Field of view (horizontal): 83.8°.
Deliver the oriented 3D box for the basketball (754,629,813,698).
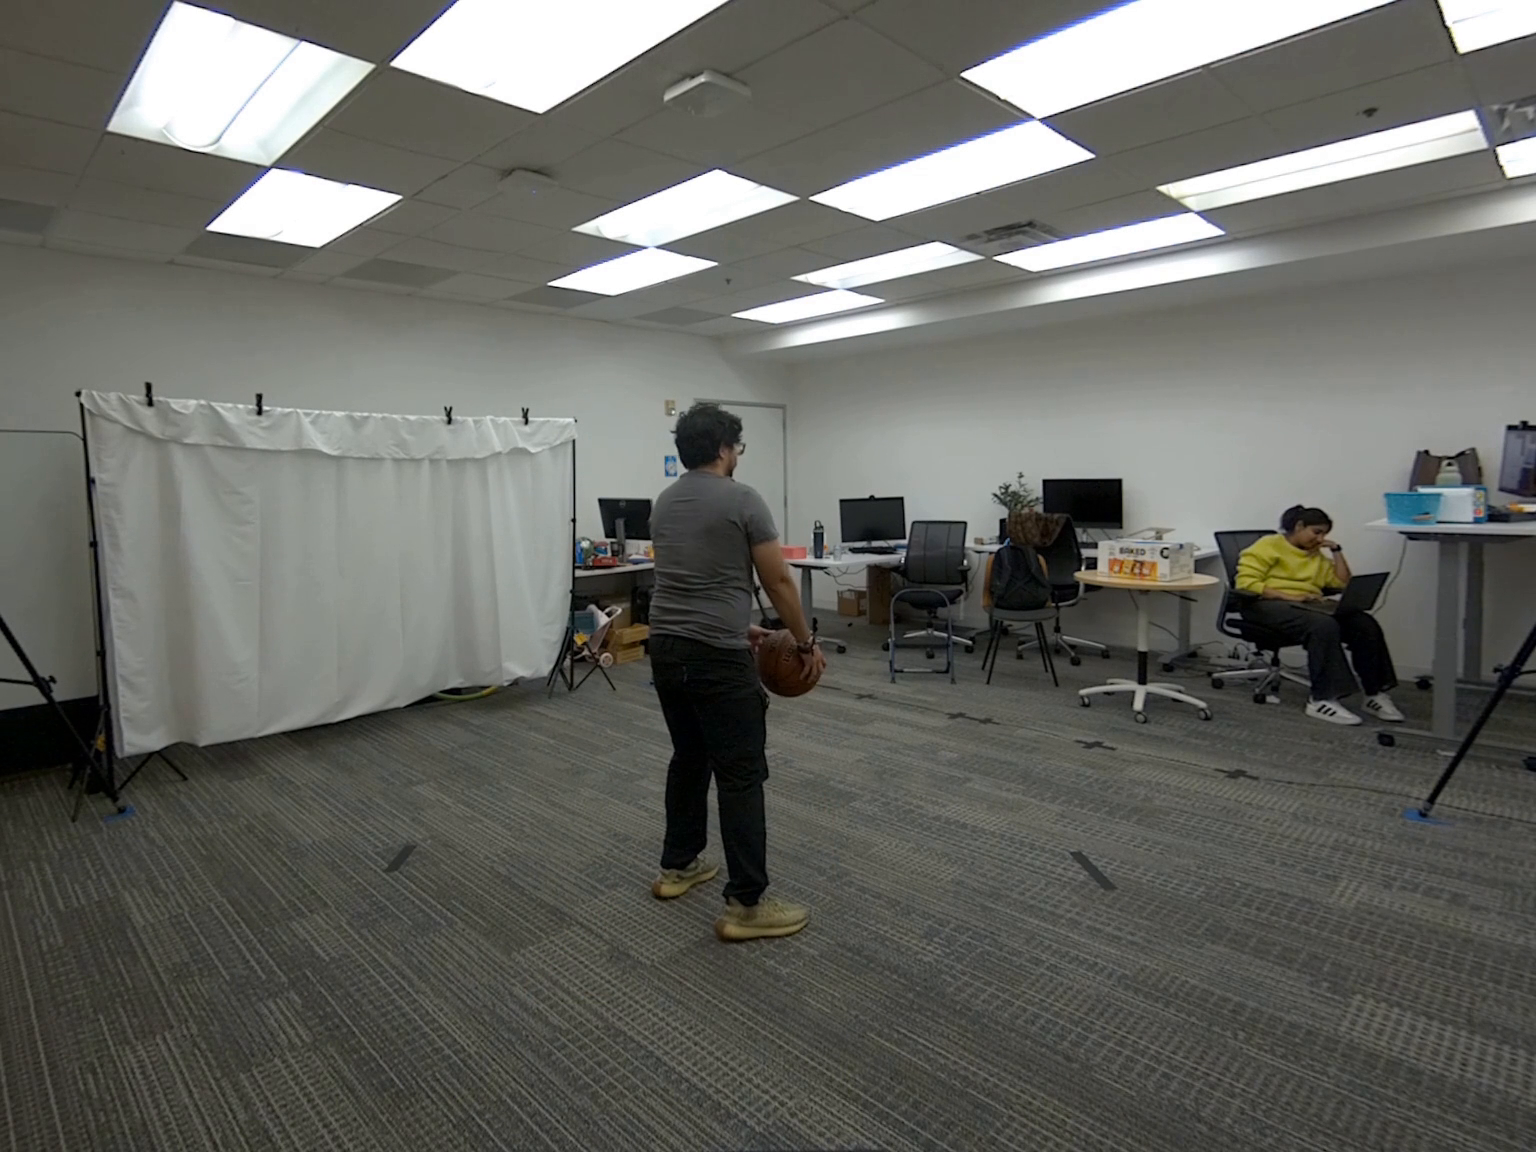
[{"bbox_3d":[0.072,0.311,3.028,0.236,0.235,0.237,-1,5,-2],"label":"basketball"}]
